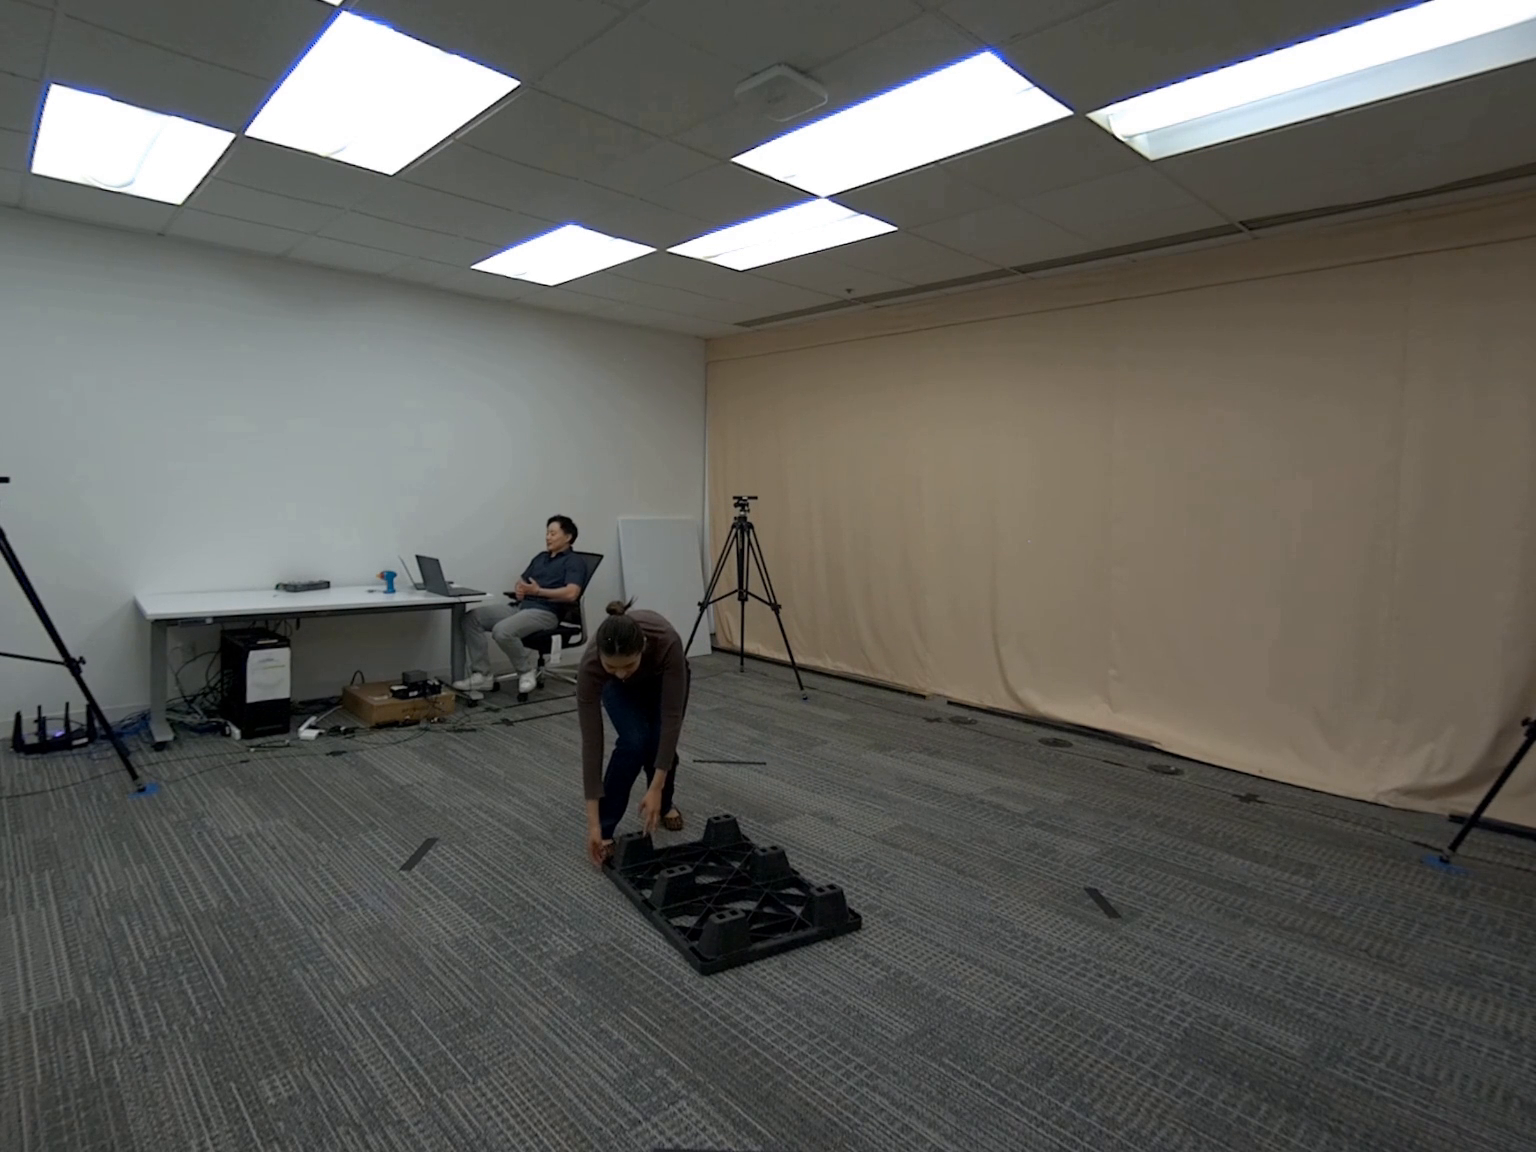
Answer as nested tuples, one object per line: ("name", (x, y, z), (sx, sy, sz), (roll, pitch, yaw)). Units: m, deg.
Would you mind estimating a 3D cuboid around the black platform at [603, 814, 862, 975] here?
("black platform", (-0.152, 1.052, 2.916), (0.593, 0.143, 0.825), (-3, 7, -32))
